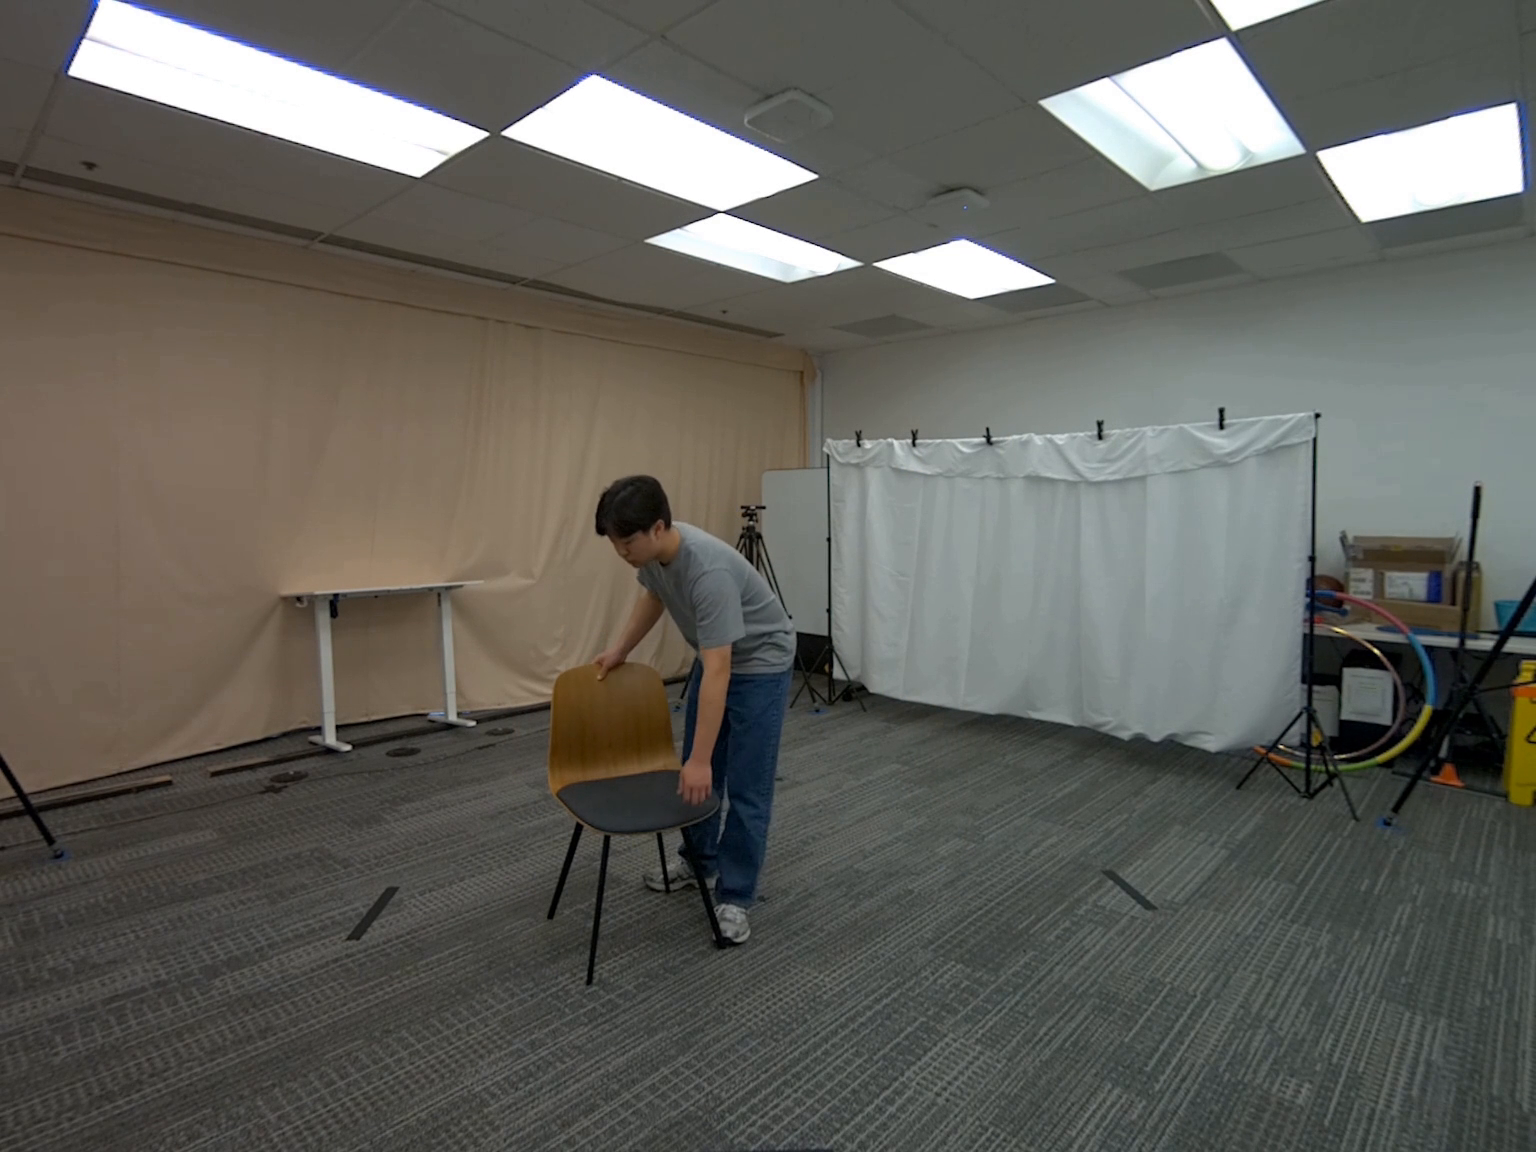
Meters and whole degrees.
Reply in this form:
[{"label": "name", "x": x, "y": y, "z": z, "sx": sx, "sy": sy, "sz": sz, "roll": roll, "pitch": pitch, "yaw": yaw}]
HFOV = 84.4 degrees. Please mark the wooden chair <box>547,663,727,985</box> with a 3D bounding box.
[{"label": "wooden chair", "x": -0.440, "y": 0.744, "z": 2.712, "sx": 0.466, "sy": 0.878, "sz": 0.536, "roll": -1, "pitch": -1, "yaw": -27}]
